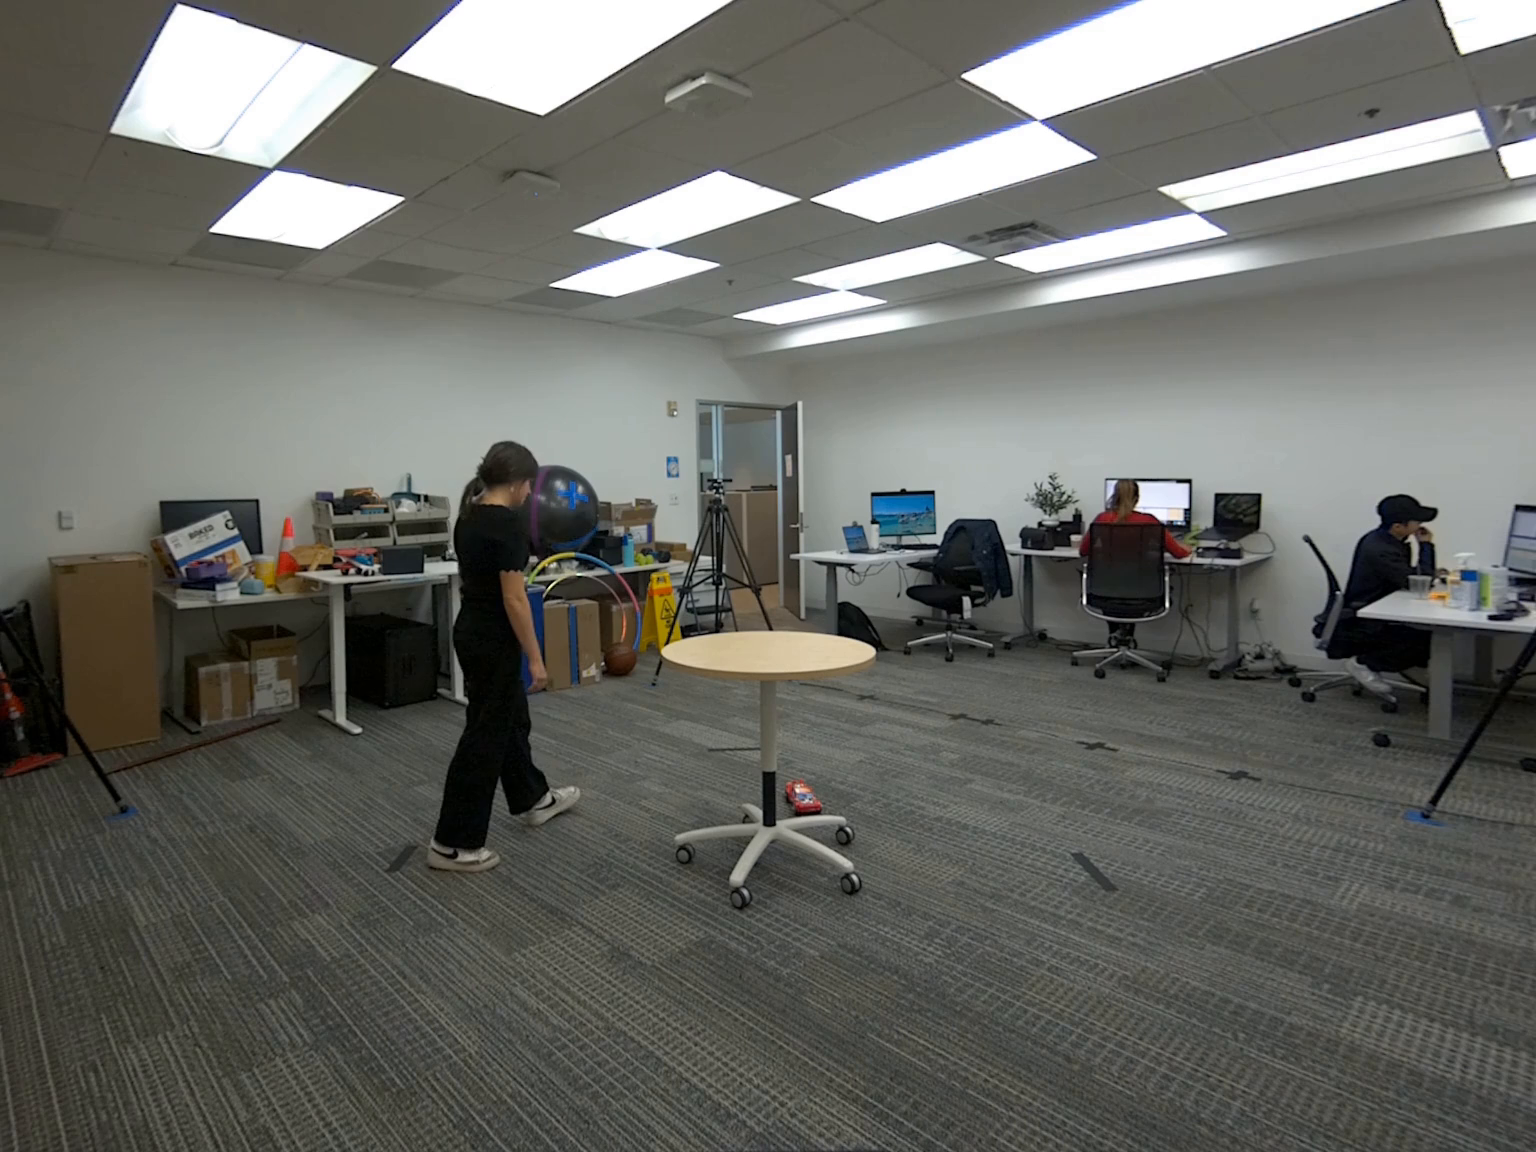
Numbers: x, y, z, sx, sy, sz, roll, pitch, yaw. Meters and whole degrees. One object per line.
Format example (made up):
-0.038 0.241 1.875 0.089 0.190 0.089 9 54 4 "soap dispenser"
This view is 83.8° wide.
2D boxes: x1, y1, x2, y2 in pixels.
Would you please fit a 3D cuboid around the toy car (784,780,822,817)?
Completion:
0.146 0.947 3.655 0.129 0.082 0.261 -2 17 -12 "toy car"
